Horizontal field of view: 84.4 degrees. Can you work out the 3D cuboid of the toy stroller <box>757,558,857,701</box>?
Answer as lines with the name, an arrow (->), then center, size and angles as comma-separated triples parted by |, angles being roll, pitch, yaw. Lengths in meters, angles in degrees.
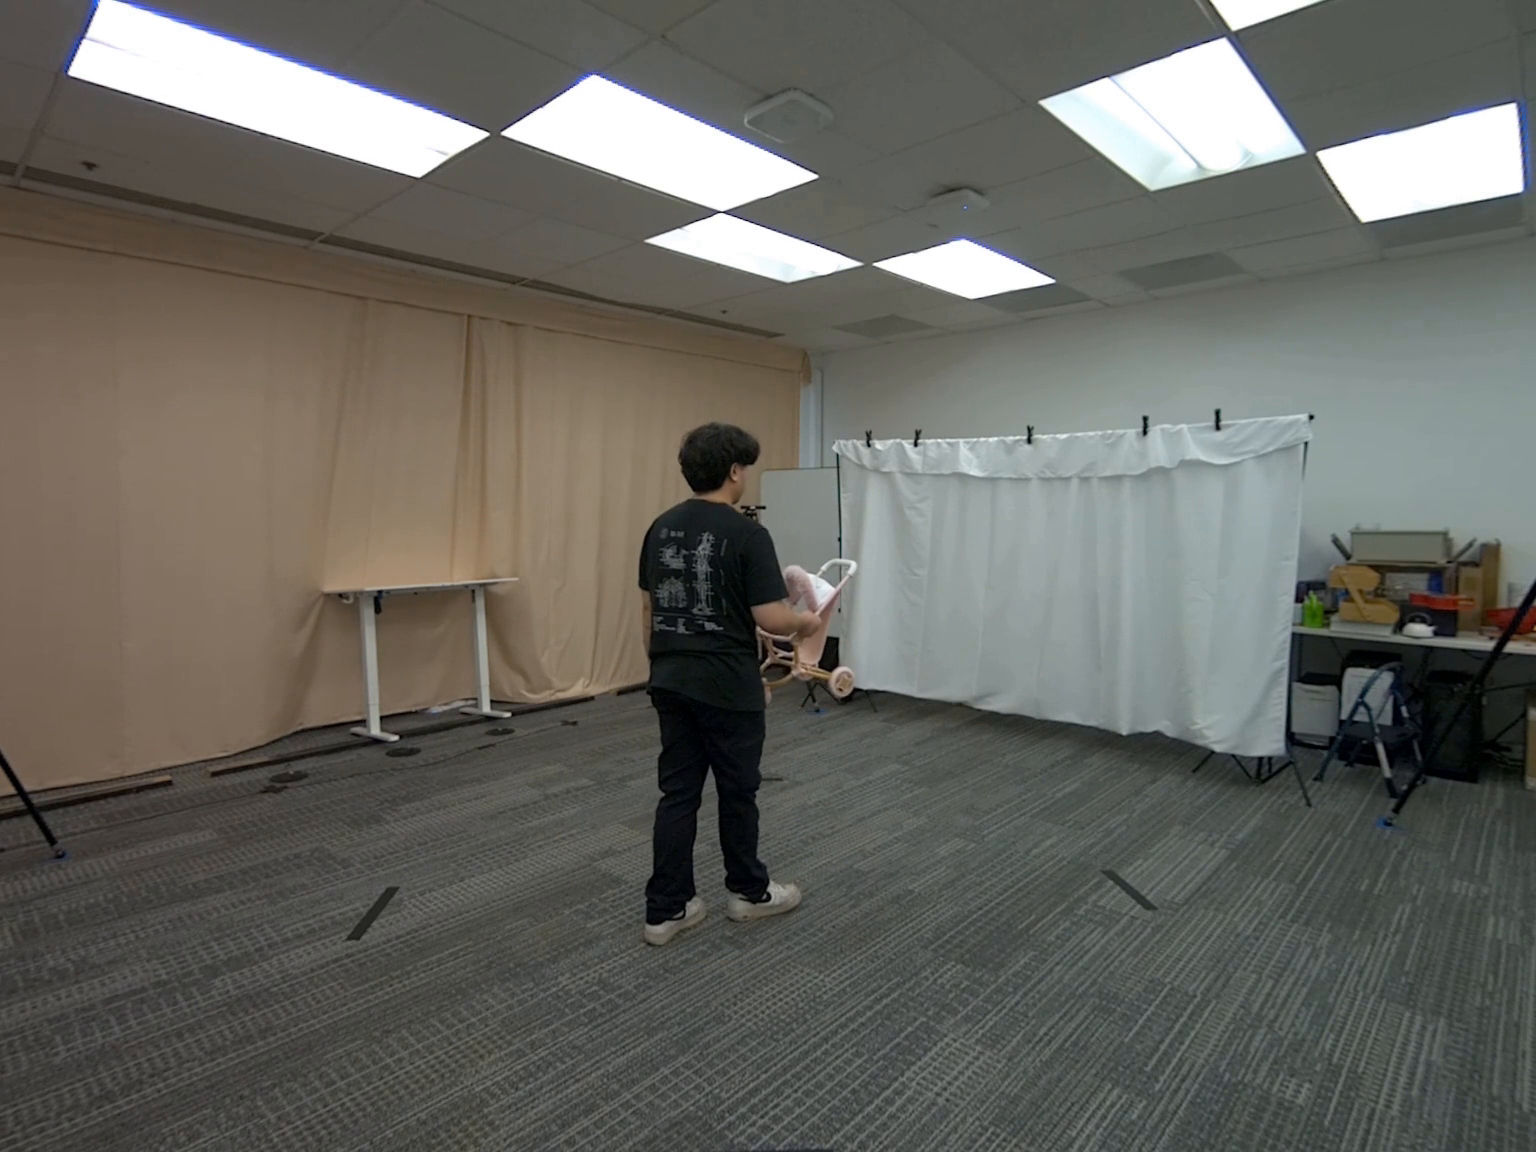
toy stroller -> 0.108, 0.201, 3.014 | 0.334, 0.533, 0.288 | 3, 5, -22
